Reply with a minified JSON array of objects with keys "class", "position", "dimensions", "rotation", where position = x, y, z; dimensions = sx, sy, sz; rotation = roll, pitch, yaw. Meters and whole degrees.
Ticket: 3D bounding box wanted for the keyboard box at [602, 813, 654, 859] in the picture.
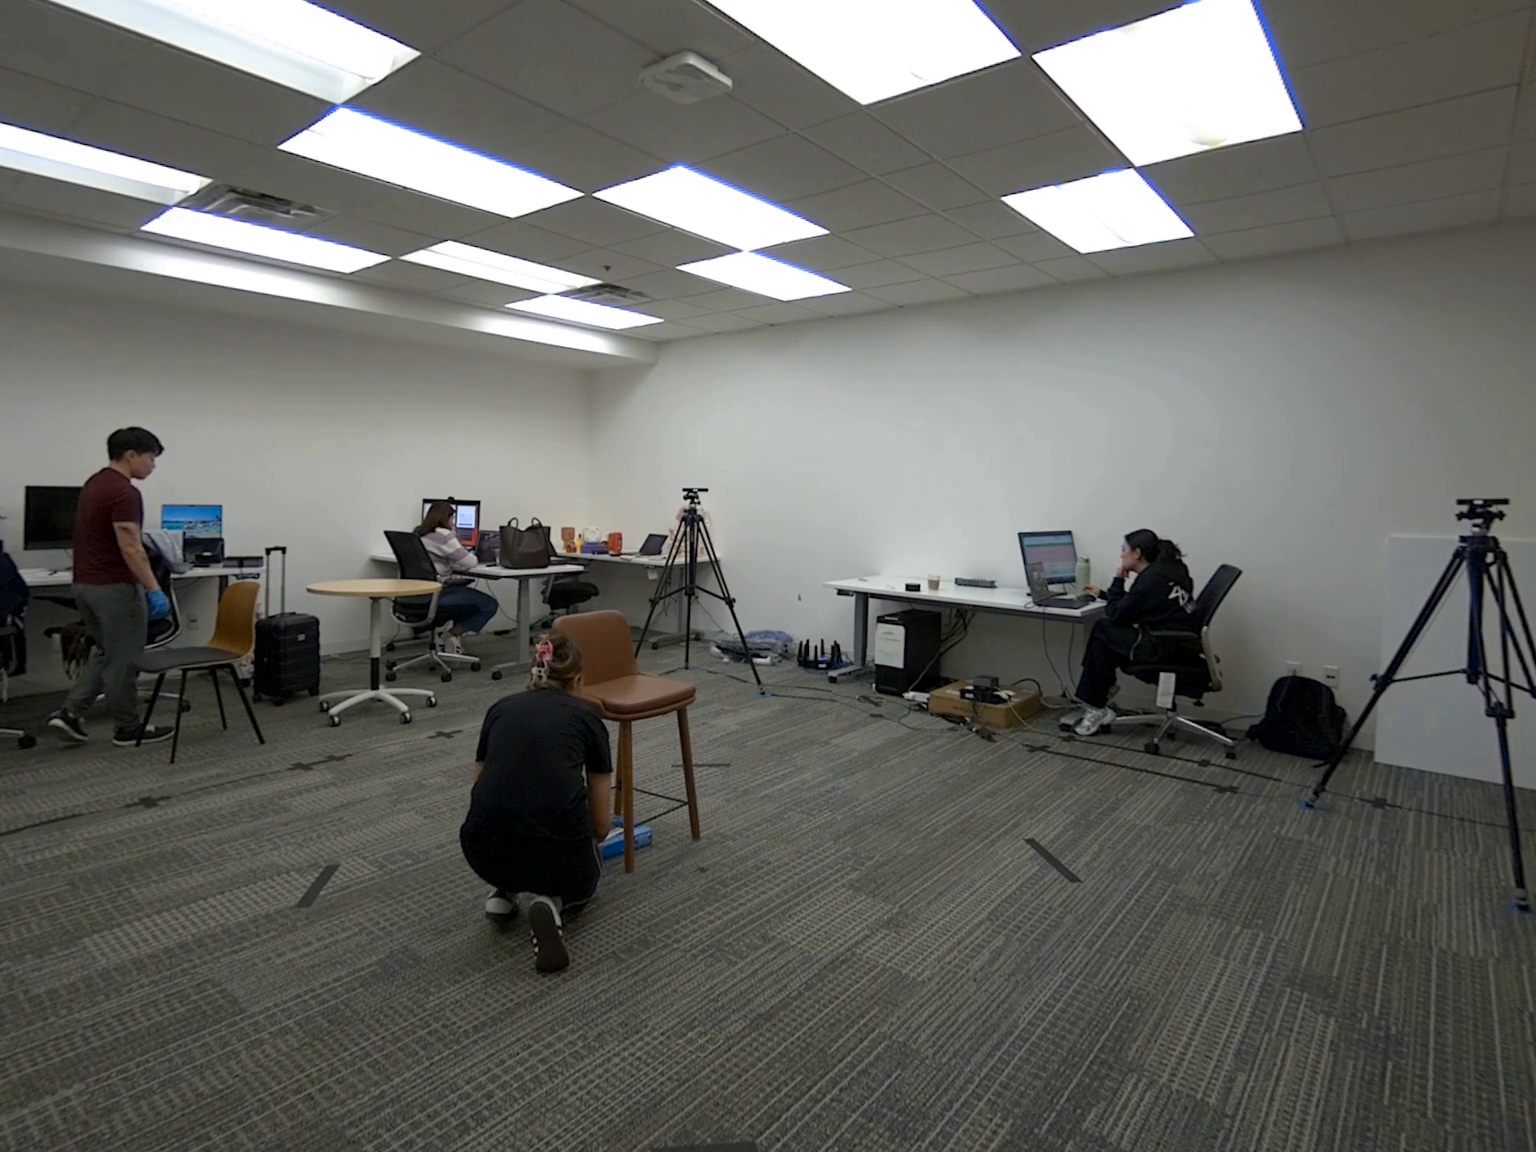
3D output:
[{"class":"keyboard box","position":[-0.668,1.016,3.226],"dimensions":[0.423,0.059,0.182],"rotation":[-4,8,-45]}]
